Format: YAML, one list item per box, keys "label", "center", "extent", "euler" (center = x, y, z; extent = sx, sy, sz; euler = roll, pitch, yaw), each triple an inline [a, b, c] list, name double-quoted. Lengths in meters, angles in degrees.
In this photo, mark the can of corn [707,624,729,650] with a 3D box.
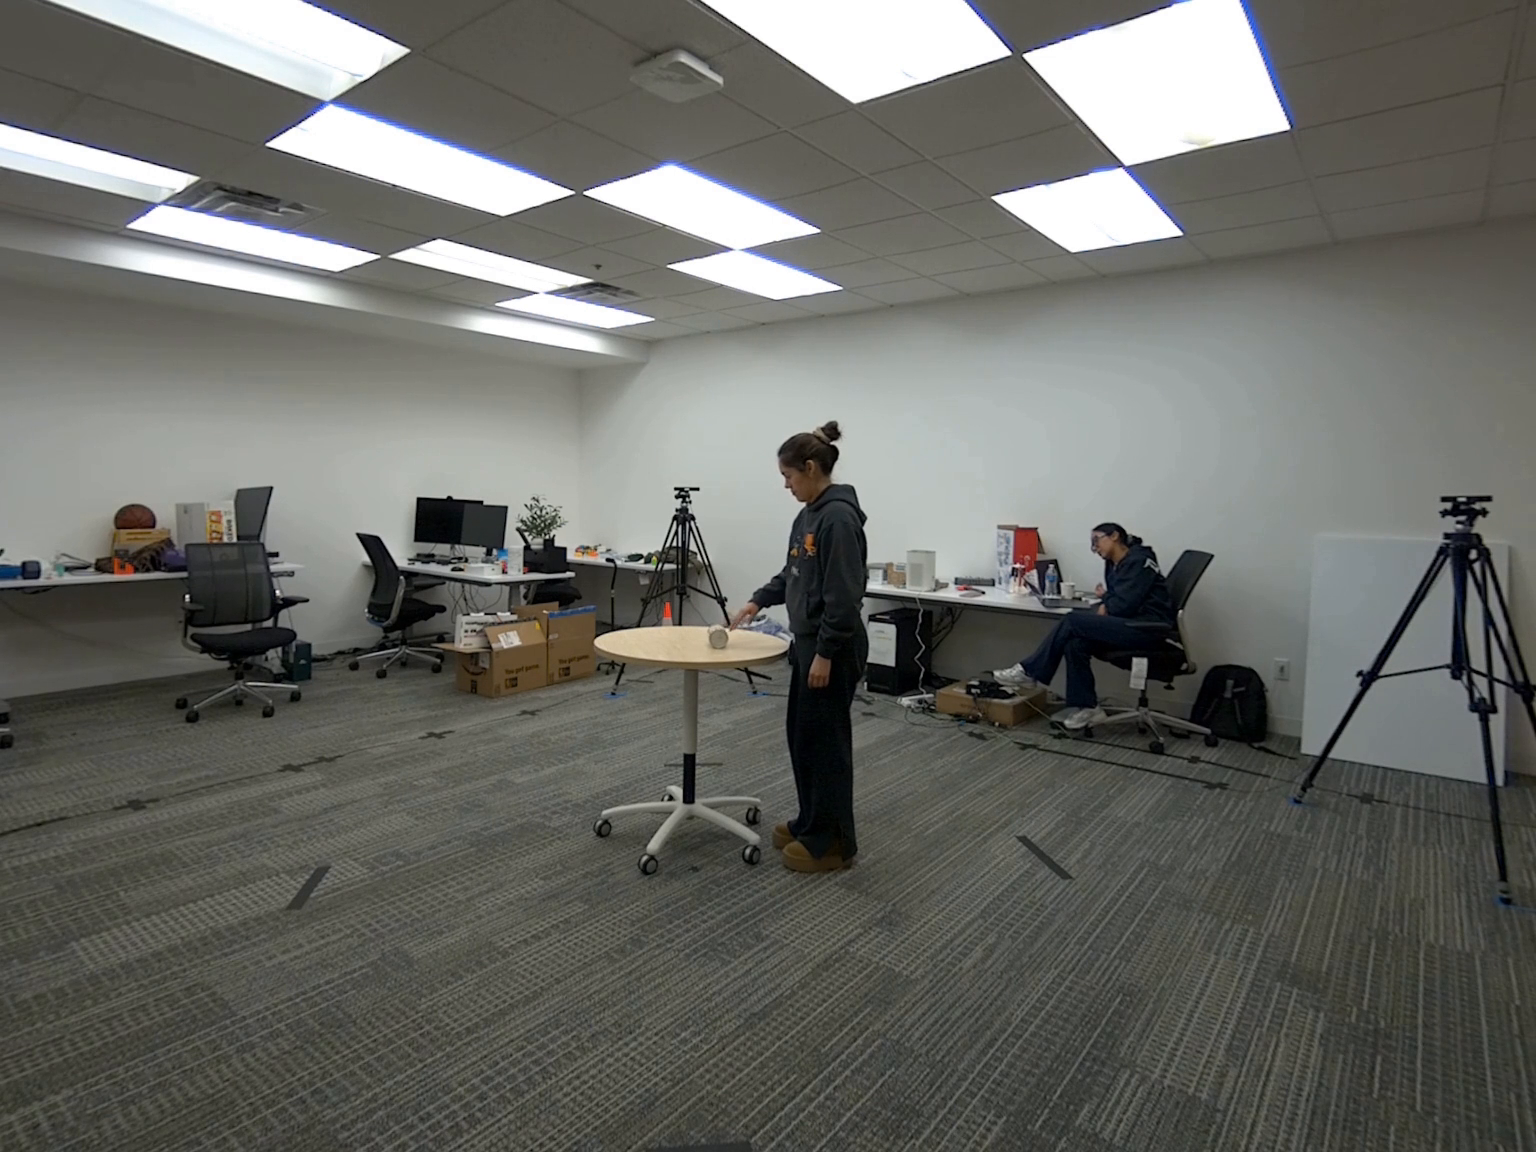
- label: "can of corn"
  center: [-0.200, 0.229, 3.294]
  extent: [0.074, 0.074, 0.112]
  euler: [0, 6, -5]
